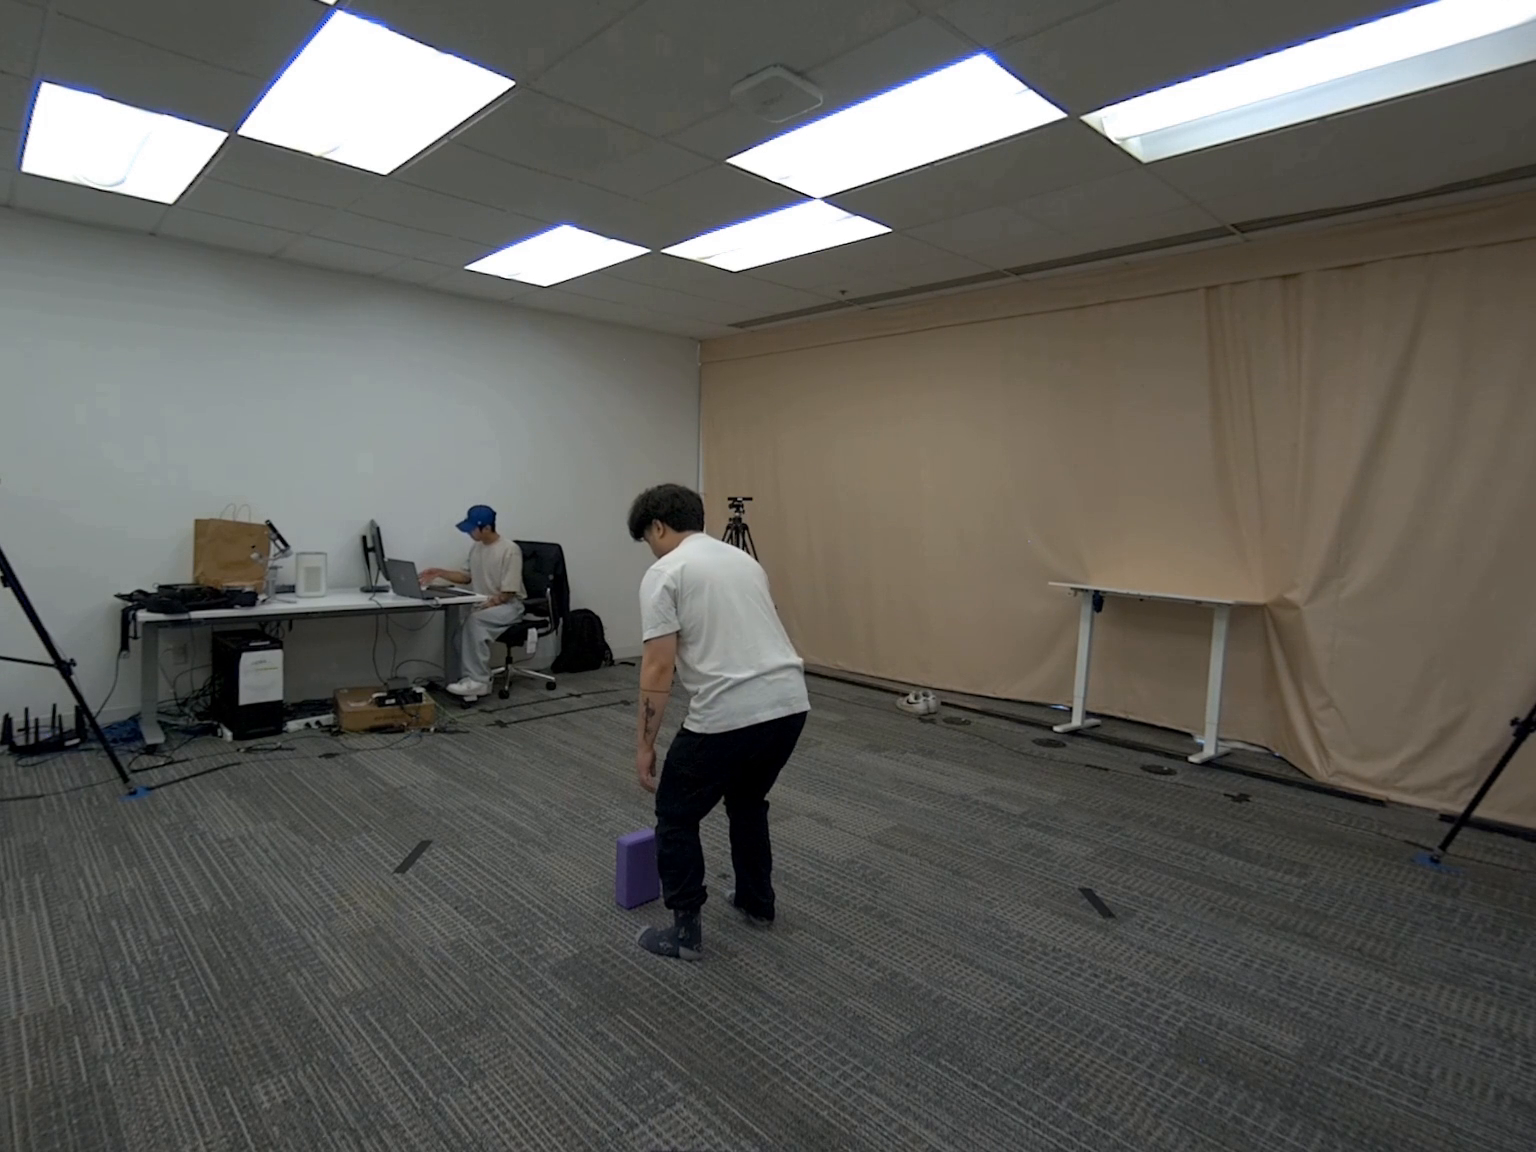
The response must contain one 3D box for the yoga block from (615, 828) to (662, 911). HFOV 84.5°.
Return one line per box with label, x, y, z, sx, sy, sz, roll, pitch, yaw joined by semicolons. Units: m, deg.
yoga block;-0.451;1.006;2.891;0.078;0.228;0.146;4;6;44
